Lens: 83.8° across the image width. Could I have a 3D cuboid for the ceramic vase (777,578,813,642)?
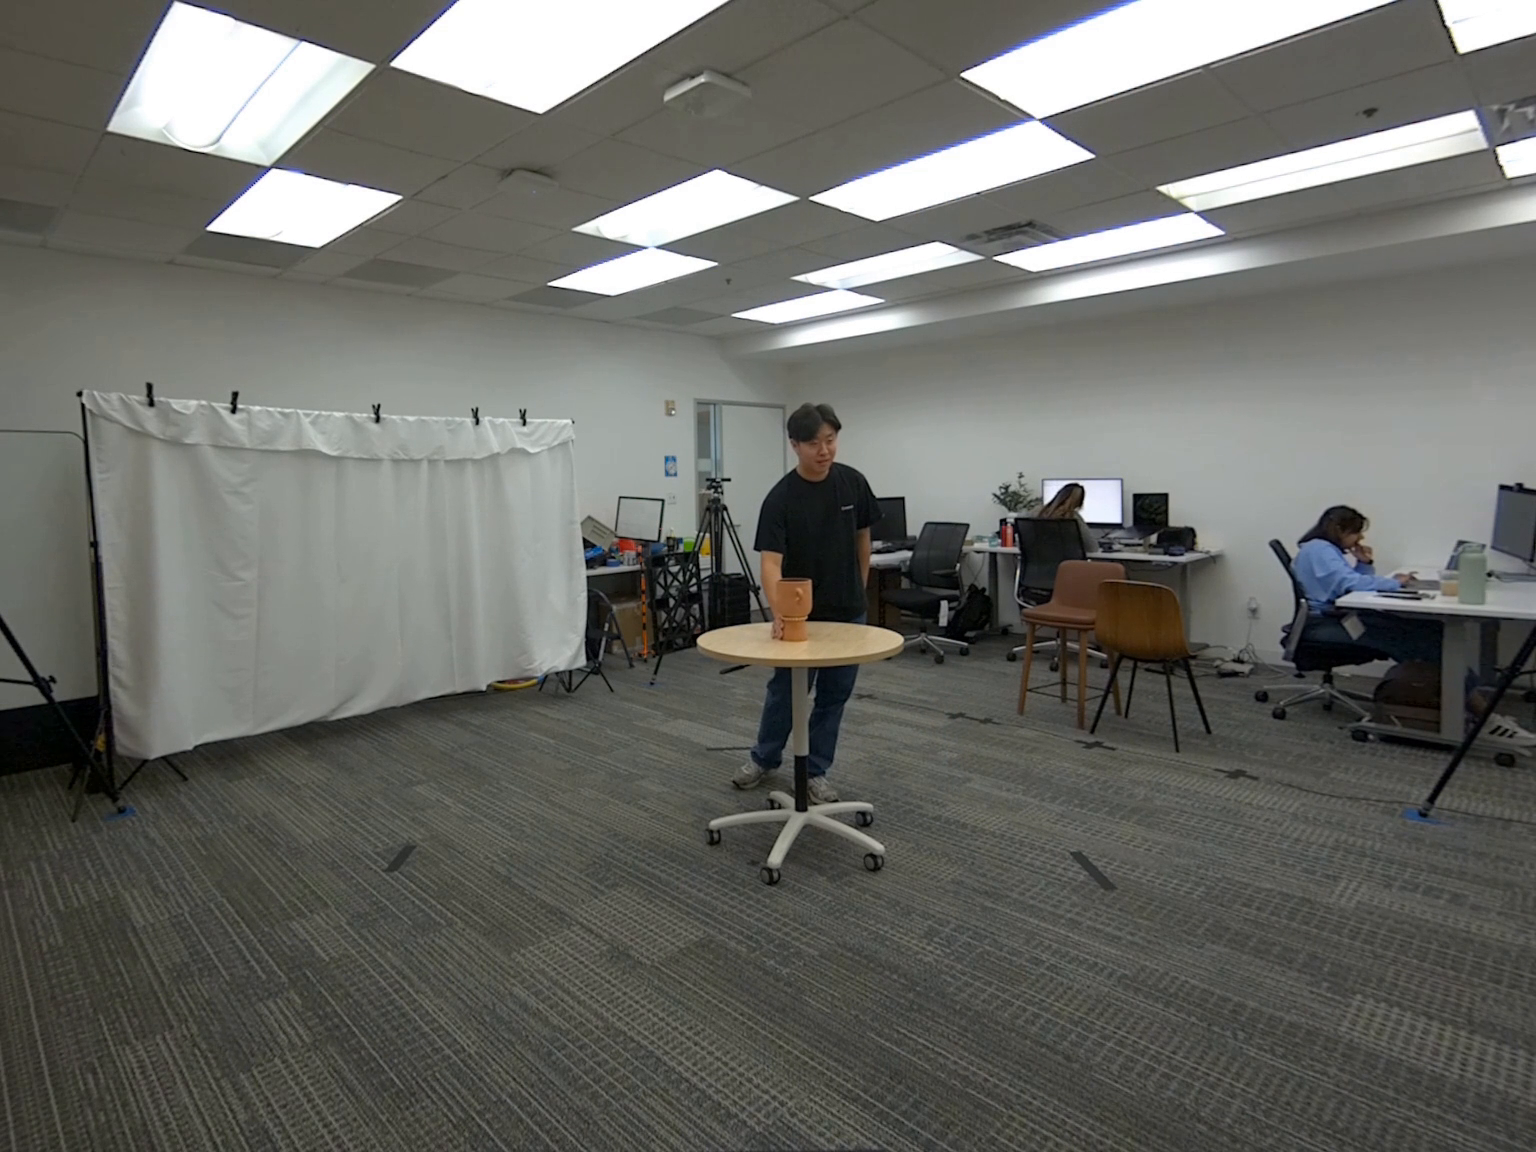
[{"bbox_3d":[0.094,0.128,3.169,0.138,0.219,0.156,-1,4,25],"label":"ceramic vase"}]
